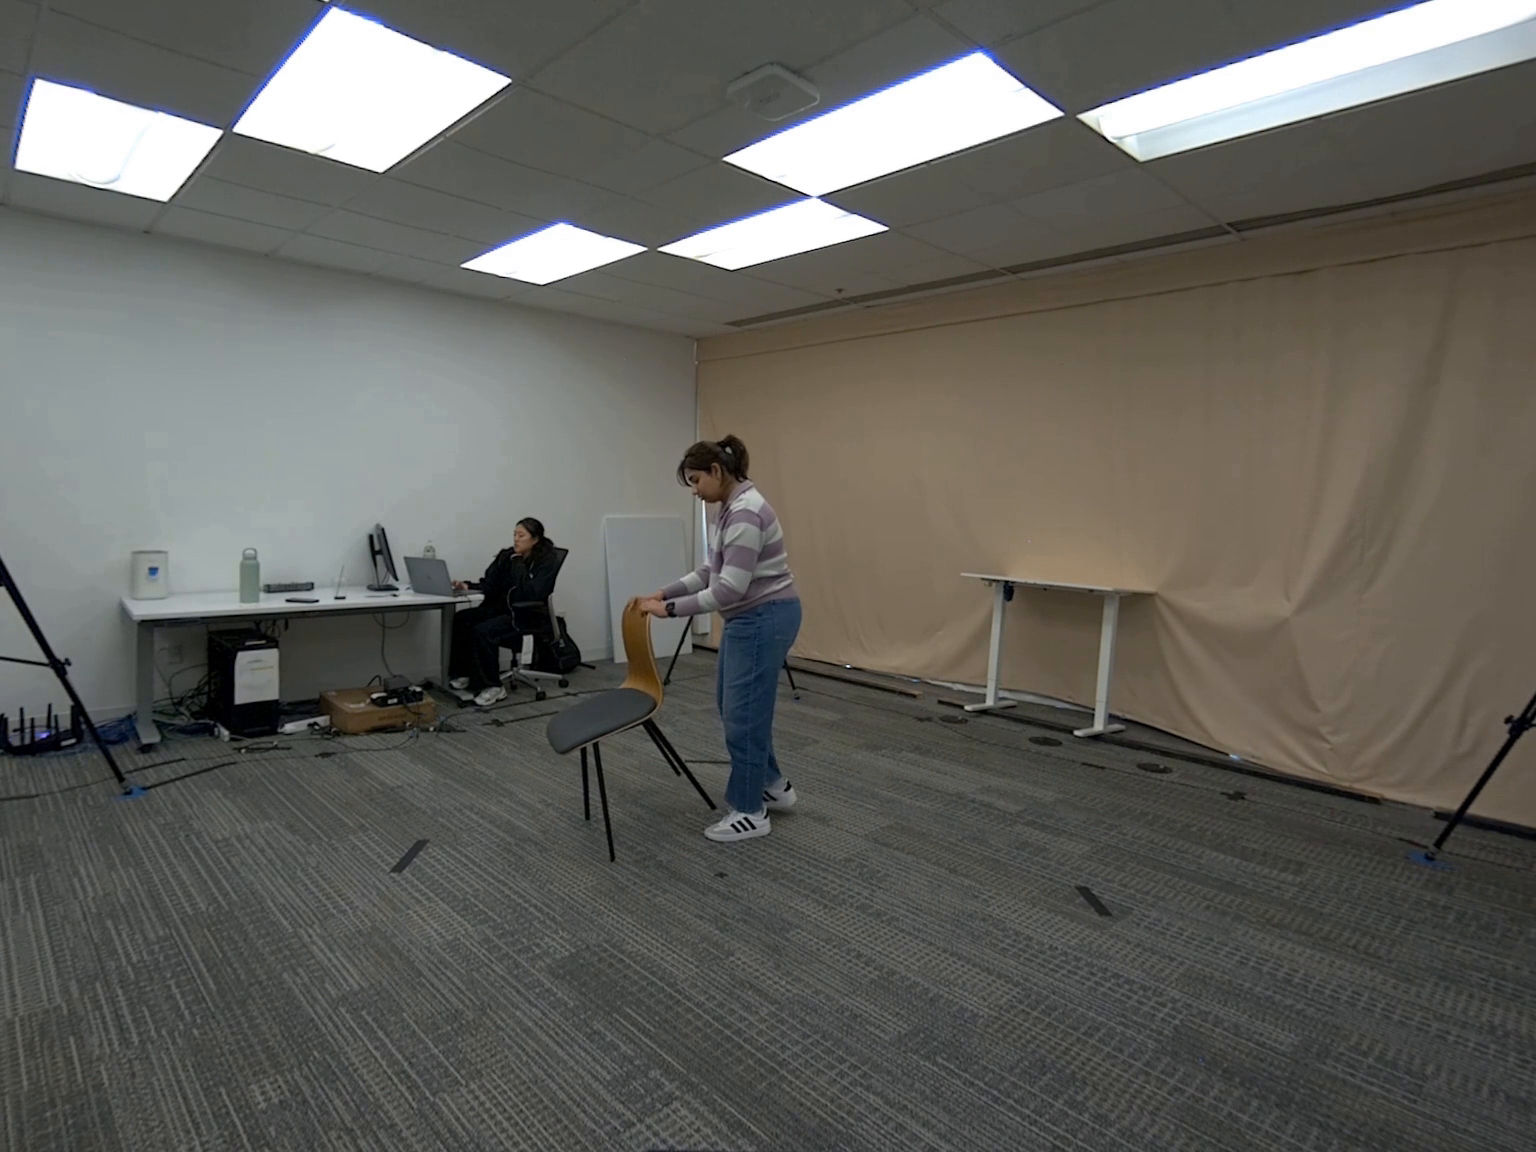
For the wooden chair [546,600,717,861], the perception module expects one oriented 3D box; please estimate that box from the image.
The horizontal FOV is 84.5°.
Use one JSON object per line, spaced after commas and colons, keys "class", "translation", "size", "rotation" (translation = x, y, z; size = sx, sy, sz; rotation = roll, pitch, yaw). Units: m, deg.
{"class": "wooden chair", "translation": [-0.626, 0.594, 3.381], "size": [0.517, 0.870, 0.487], "rotation": [-16, 10, -22]}
